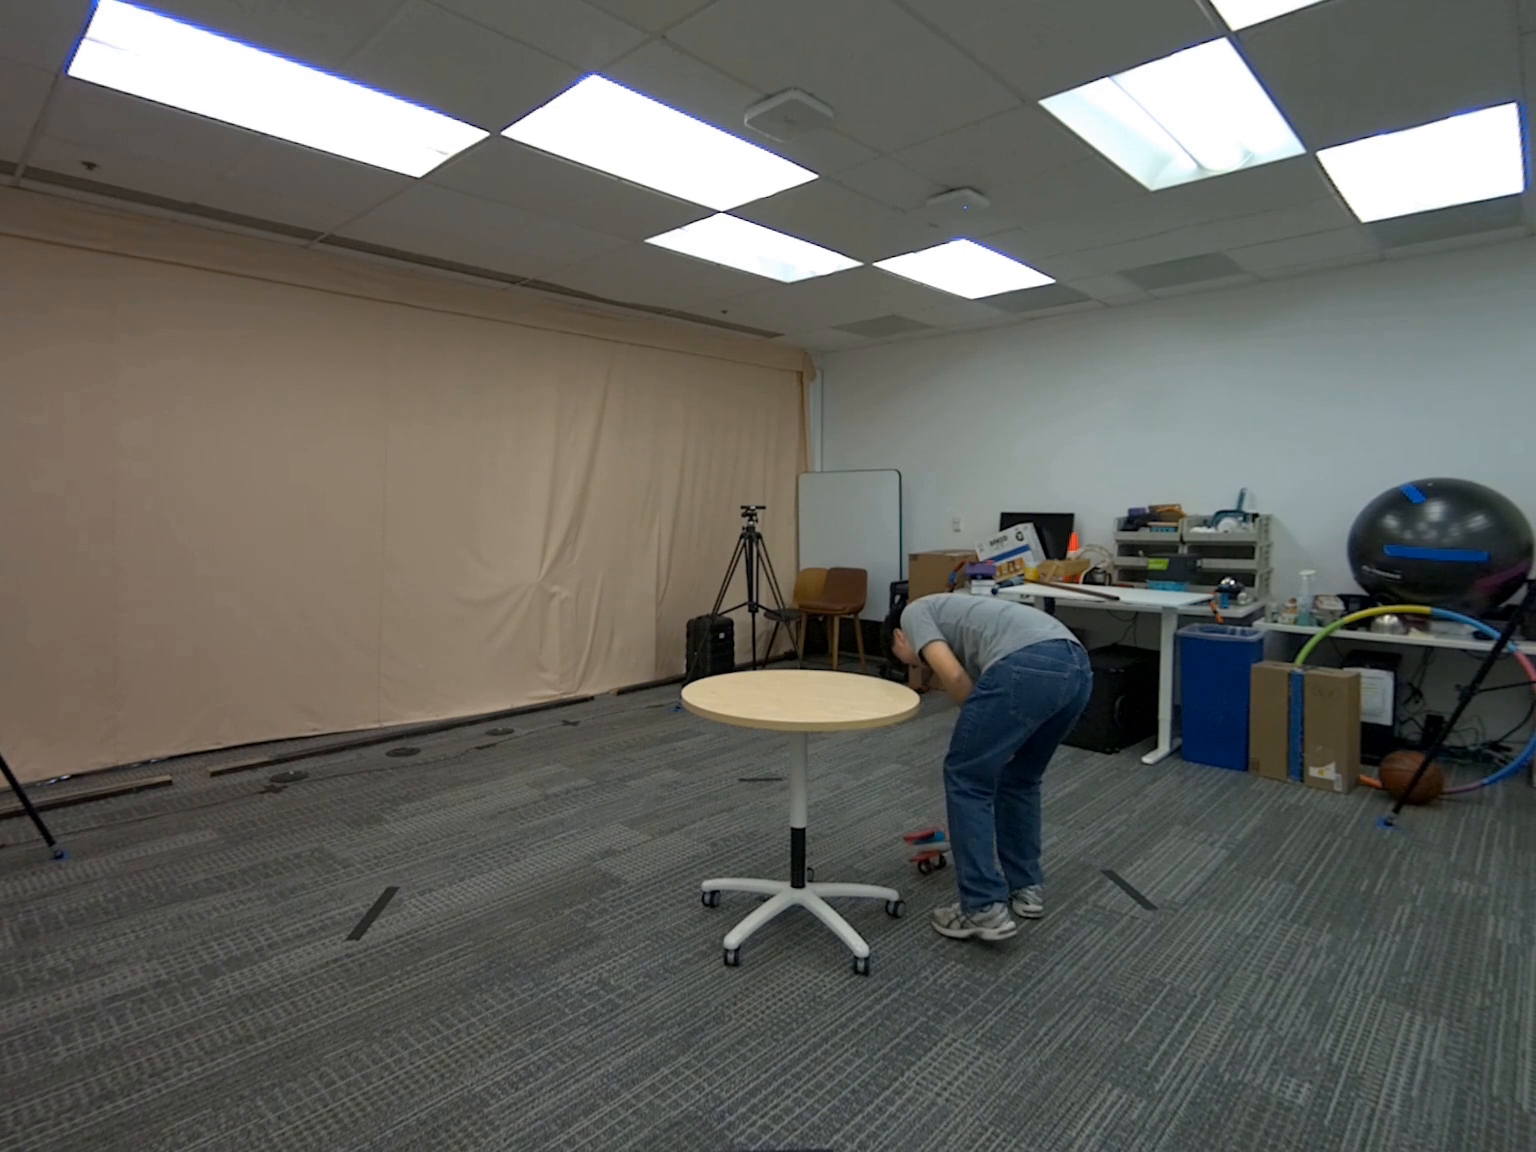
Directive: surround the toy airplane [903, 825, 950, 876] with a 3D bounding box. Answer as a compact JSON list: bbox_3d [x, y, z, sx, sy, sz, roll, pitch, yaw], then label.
[{"bbox_3d":[0.671,1.015,3.179,0.262,0.160,0.243,-31,-27,17],"label":"toy airplane"}]
